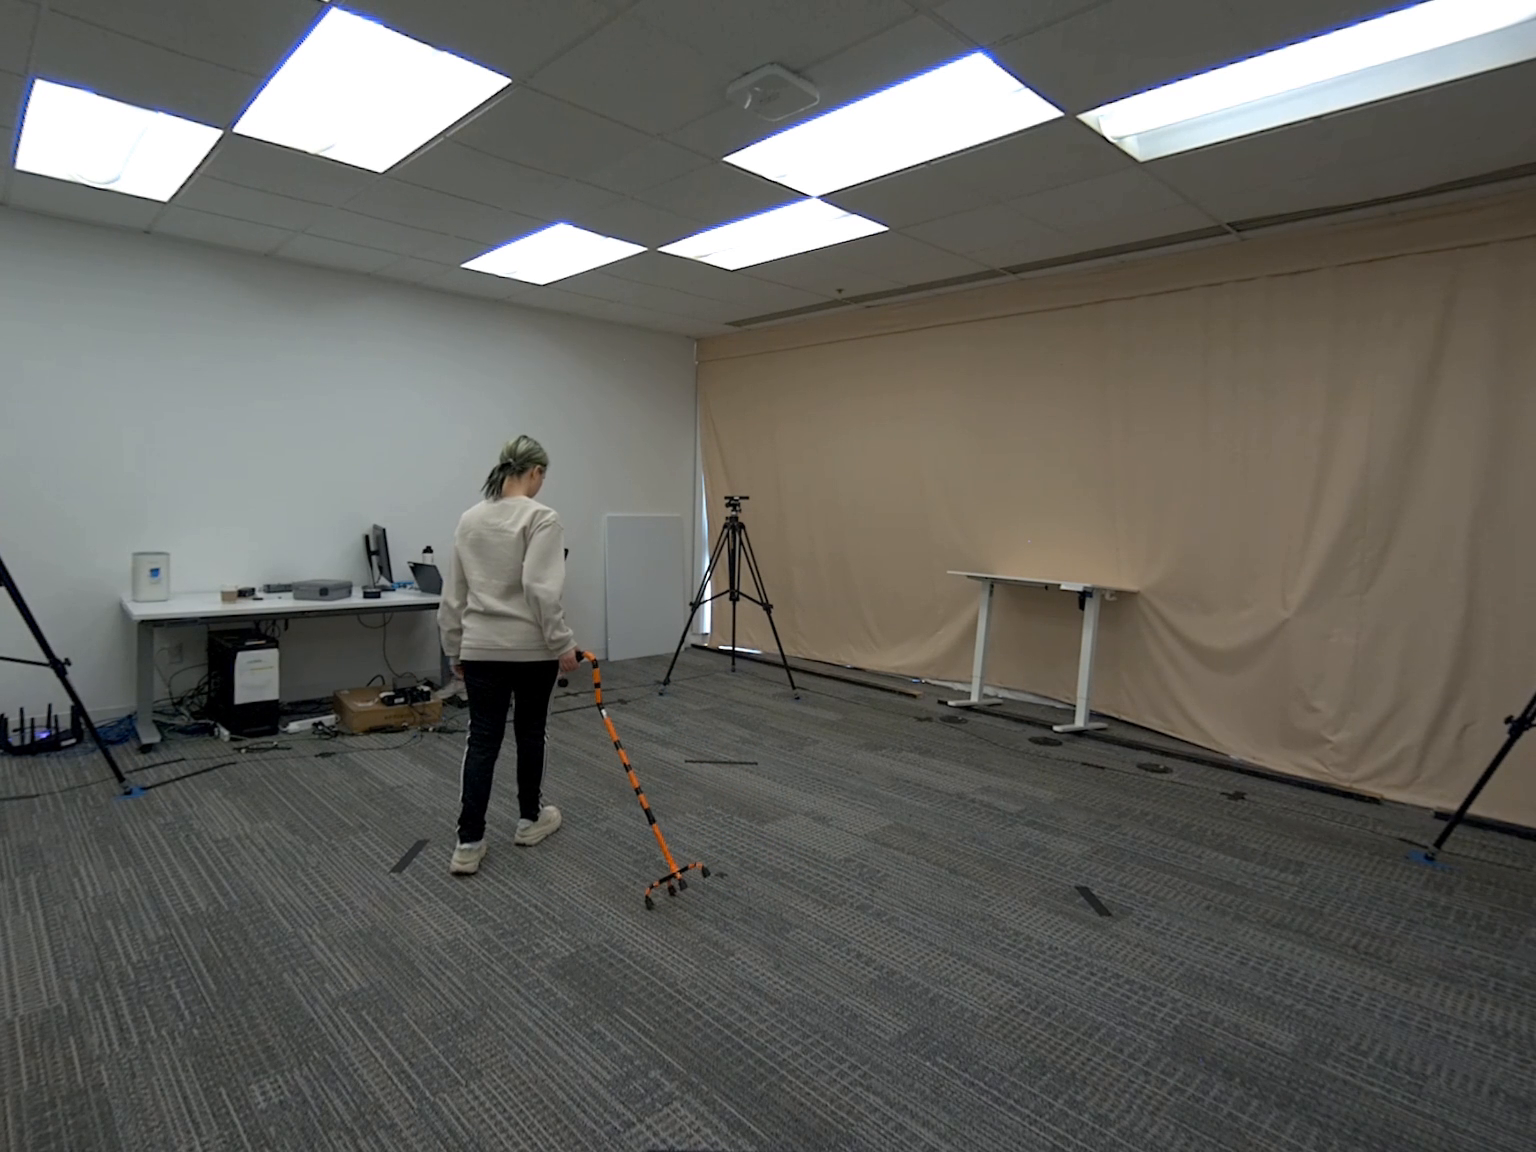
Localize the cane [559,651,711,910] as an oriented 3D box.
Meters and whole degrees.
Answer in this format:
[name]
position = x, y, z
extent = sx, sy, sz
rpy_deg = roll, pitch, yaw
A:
[cane]
position = -0.506, 0.685, 2.974
extent = 0.207, 0.924, 0.148
rpy_deg = -37, -20, 29
